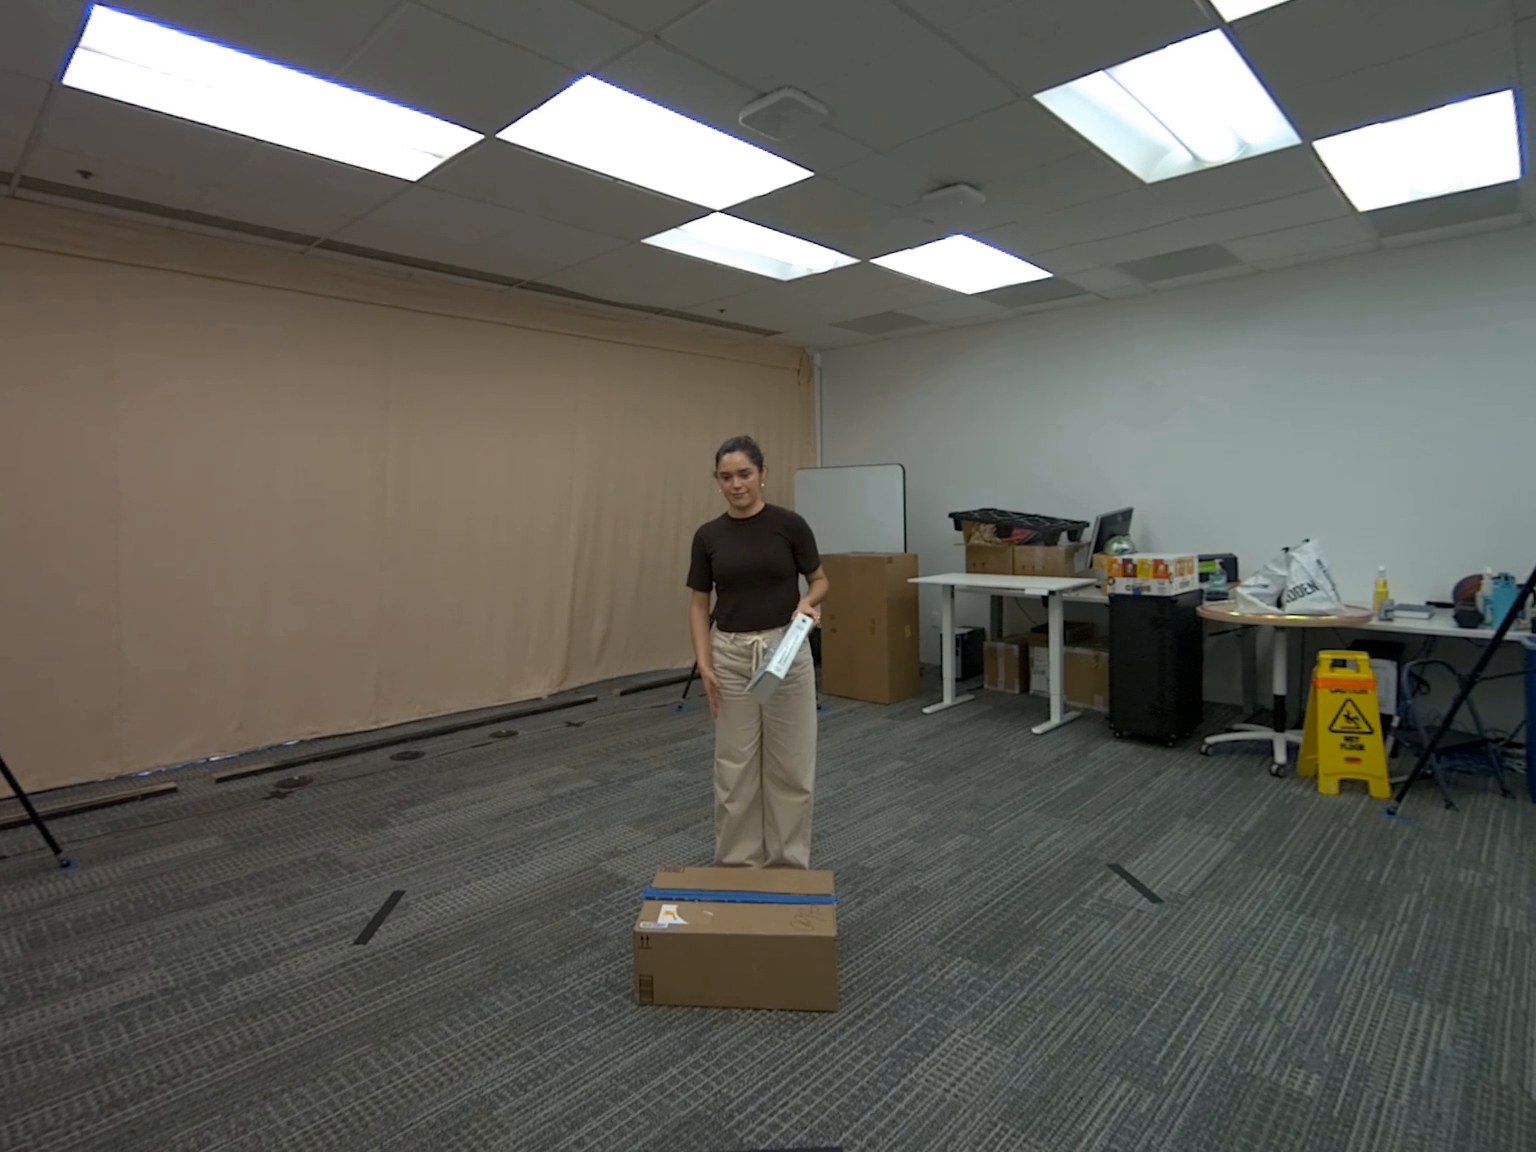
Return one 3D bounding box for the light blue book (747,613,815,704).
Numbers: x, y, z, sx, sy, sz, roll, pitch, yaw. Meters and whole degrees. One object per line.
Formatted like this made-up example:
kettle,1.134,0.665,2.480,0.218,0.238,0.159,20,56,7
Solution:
light blue book,0.034,0.264,2.674,0.059,0.261,0.191,32,-42,-2
